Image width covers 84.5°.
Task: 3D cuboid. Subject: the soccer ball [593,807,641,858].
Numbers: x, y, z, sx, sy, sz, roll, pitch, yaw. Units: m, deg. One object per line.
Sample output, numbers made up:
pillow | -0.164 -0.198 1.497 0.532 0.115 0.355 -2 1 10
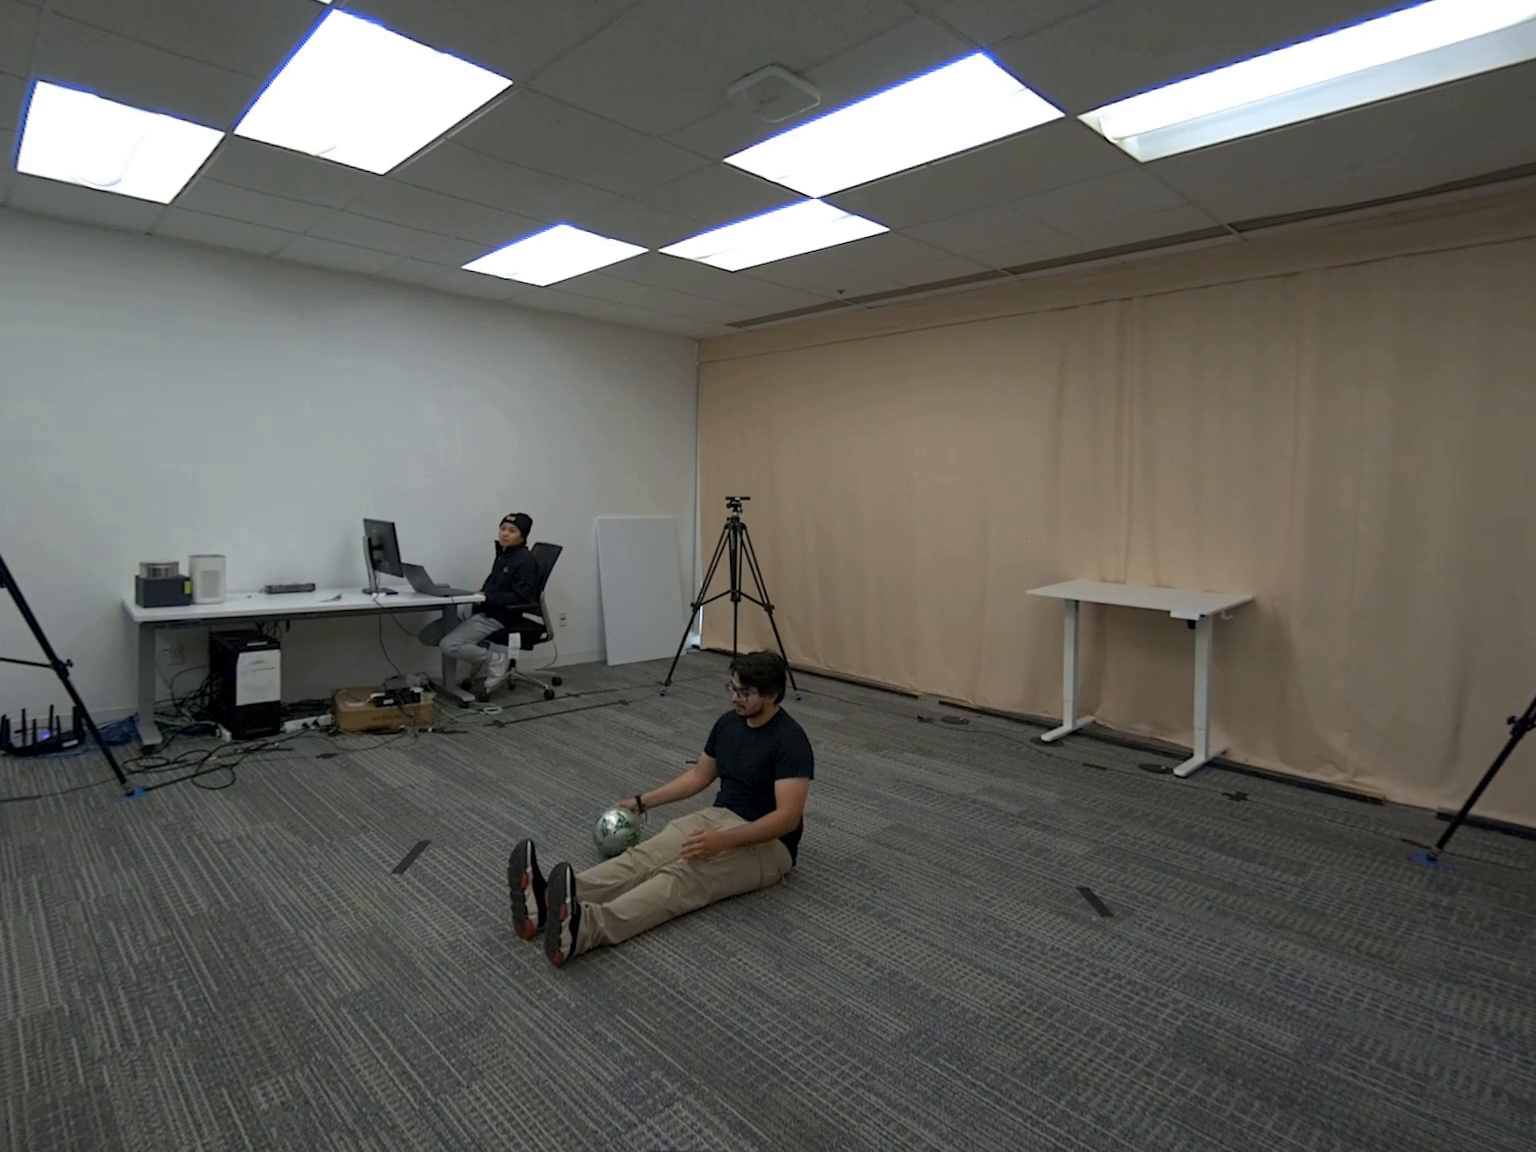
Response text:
soccer ball | -0.586 0.984 3.248 0.187 0.187 0.188 1 5 -1
